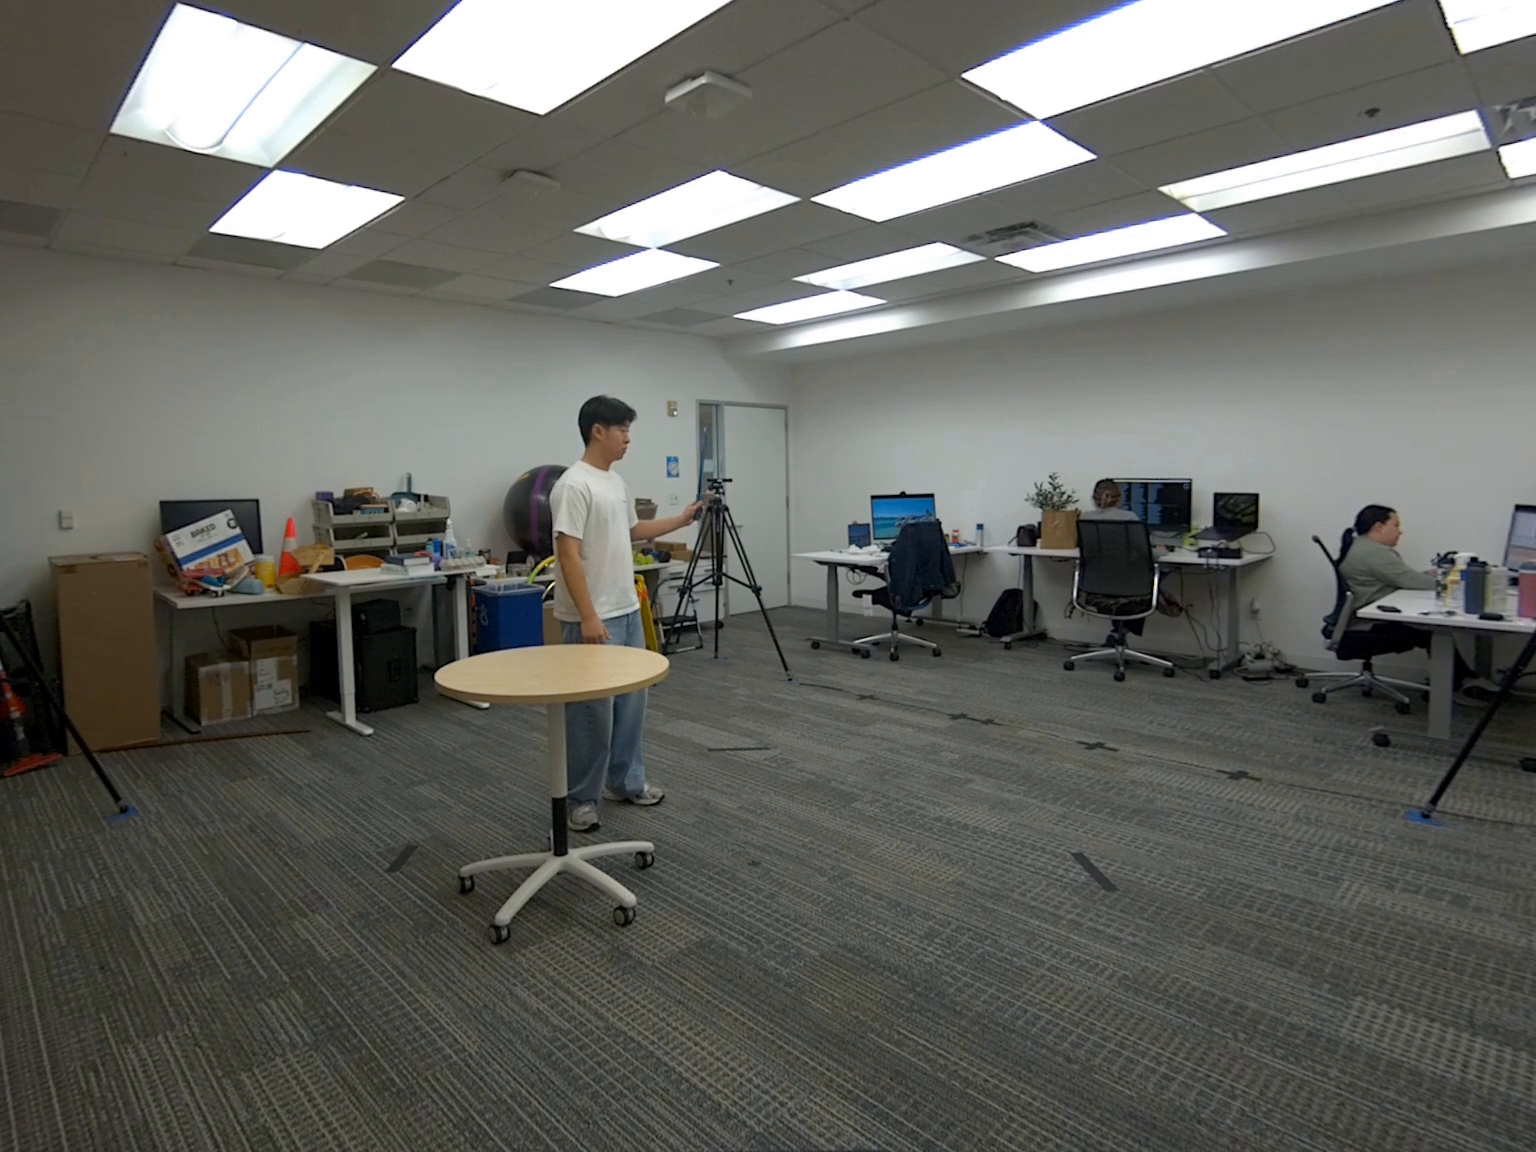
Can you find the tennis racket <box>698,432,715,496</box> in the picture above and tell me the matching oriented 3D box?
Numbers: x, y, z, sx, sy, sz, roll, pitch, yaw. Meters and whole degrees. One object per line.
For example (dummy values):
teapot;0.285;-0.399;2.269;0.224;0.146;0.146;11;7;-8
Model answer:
tennis racket;-0.314;-0.477;3.963;0.031;0.430;0.216;6;9;-5
